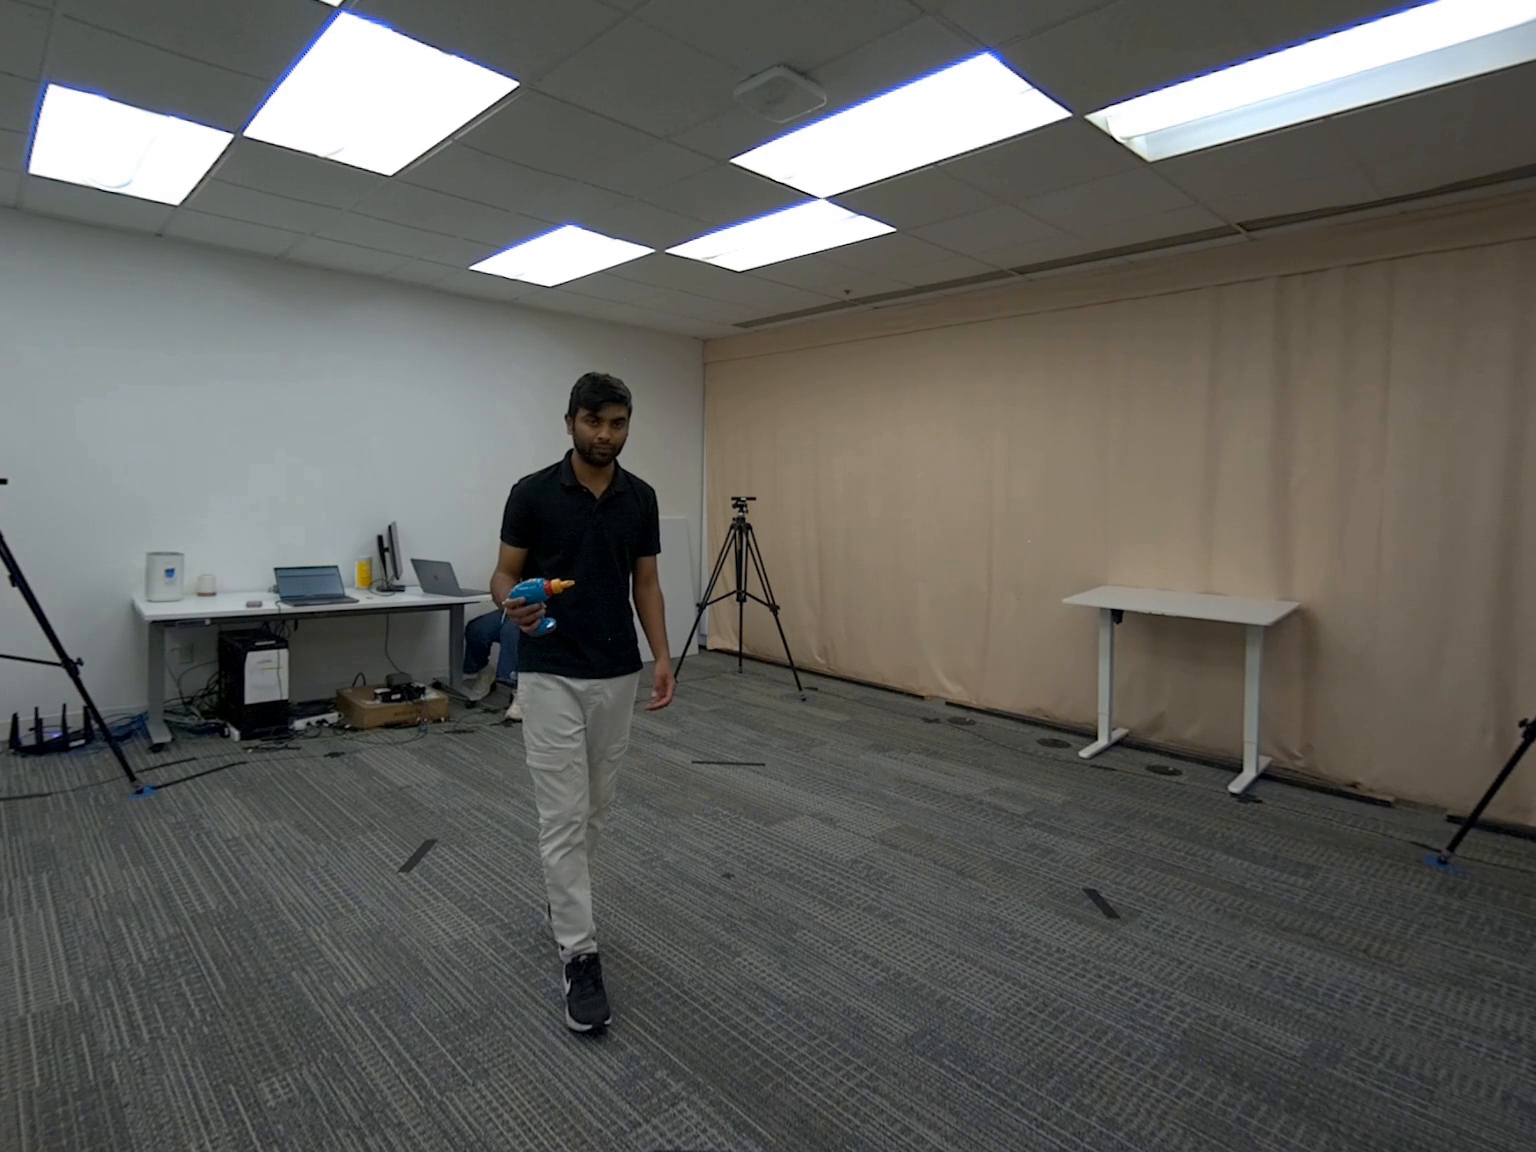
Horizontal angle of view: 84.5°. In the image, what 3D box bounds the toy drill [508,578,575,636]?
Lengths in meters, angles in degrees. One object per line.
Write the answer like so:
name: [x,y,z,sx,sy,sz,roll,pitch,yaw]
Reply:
toy drill: [-0.558,0.061,2.114,0.170,0.142,0.062,-12,33,1]
